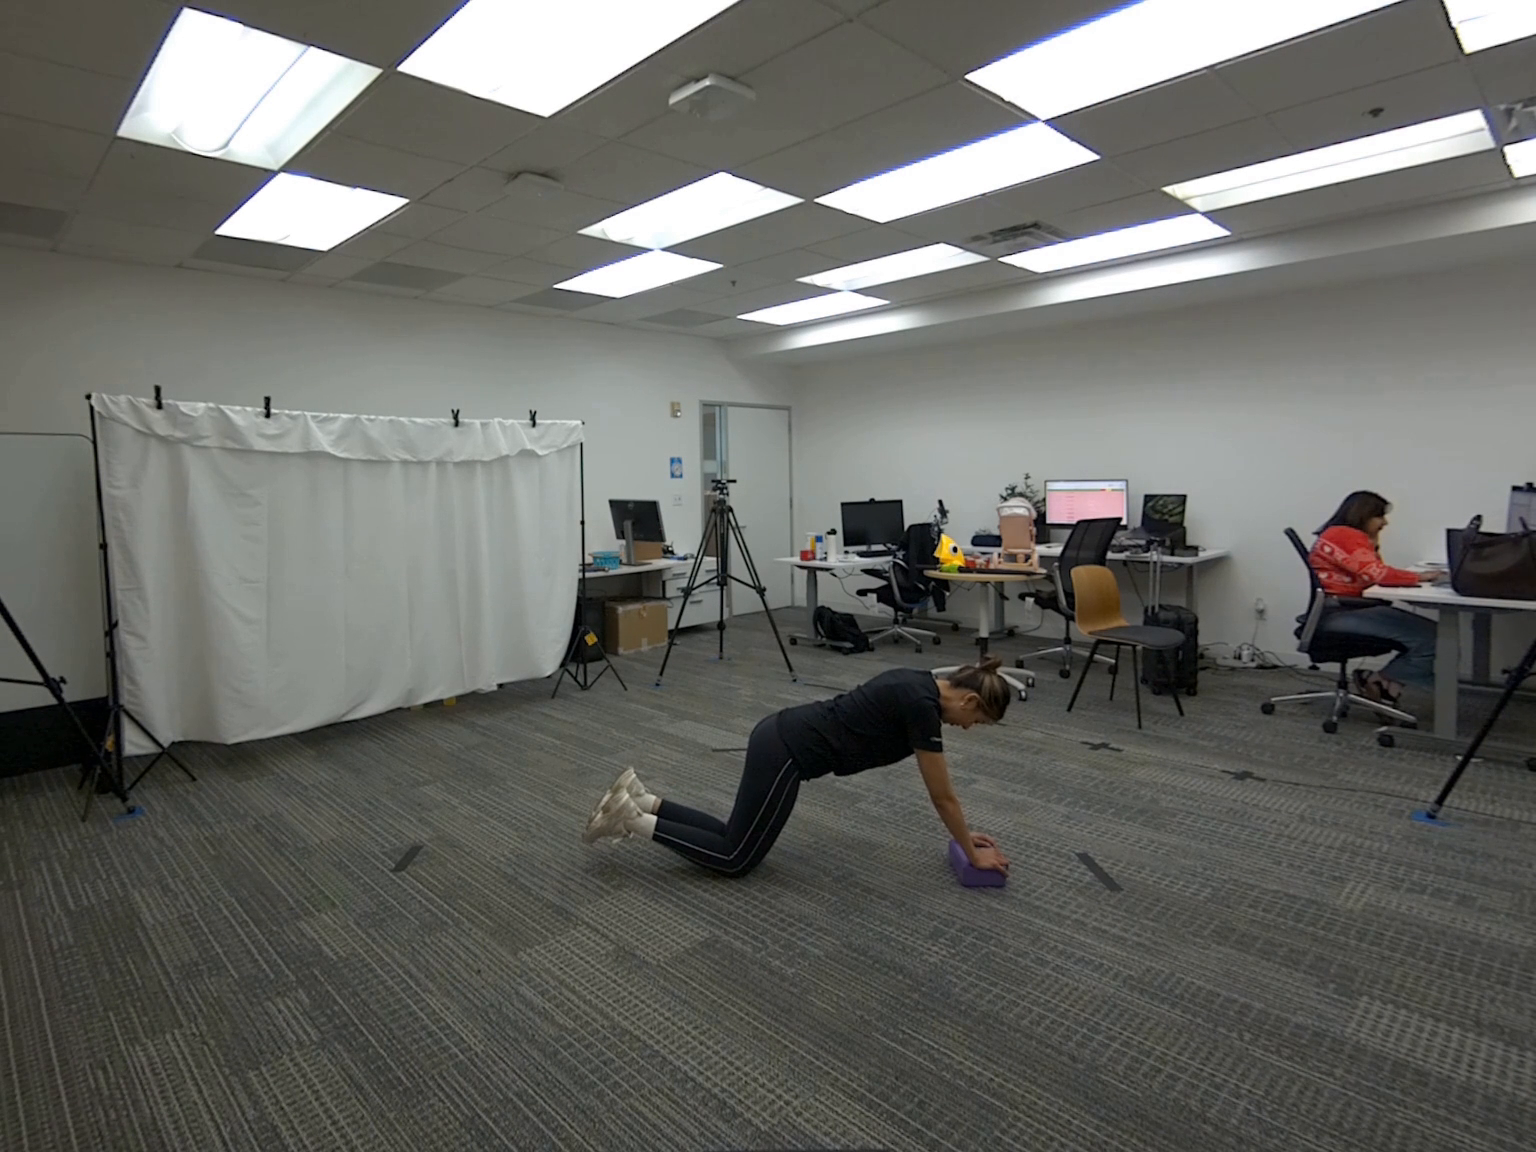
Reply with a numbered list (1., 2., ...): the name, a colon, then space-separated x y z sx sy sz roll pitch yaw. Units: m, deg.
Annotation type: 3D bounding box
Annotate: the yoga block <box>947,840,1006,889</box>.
1. yoga block: 0.731 0.997 3.004 0.149 0.076 0.230 2 6 0
